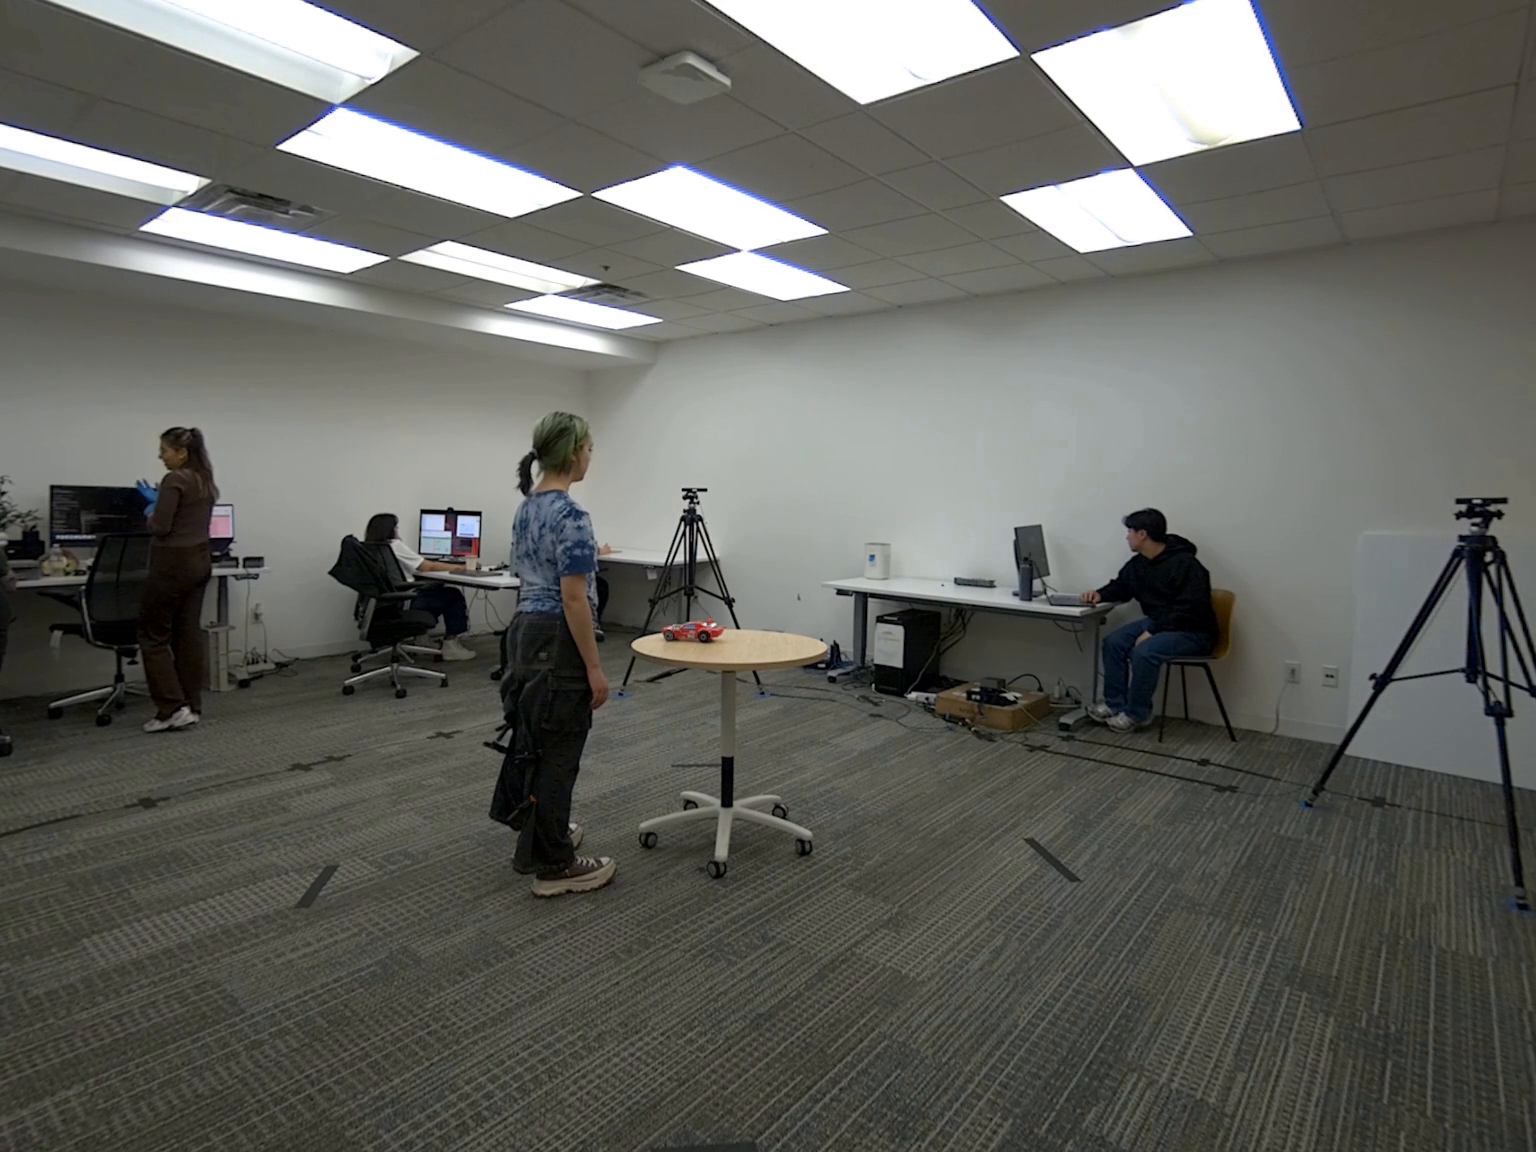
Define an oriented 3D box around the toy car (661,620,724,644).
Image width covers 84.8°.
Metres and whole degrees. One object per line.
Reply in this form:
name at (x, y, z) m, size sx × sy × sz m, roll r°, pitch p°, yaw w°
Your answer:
toy car at (-0.306, 0.223, 3.427) m, size 0.257 × 0.083 × 0.129 m, roll -10°, pitch 2°, yaw 12°
